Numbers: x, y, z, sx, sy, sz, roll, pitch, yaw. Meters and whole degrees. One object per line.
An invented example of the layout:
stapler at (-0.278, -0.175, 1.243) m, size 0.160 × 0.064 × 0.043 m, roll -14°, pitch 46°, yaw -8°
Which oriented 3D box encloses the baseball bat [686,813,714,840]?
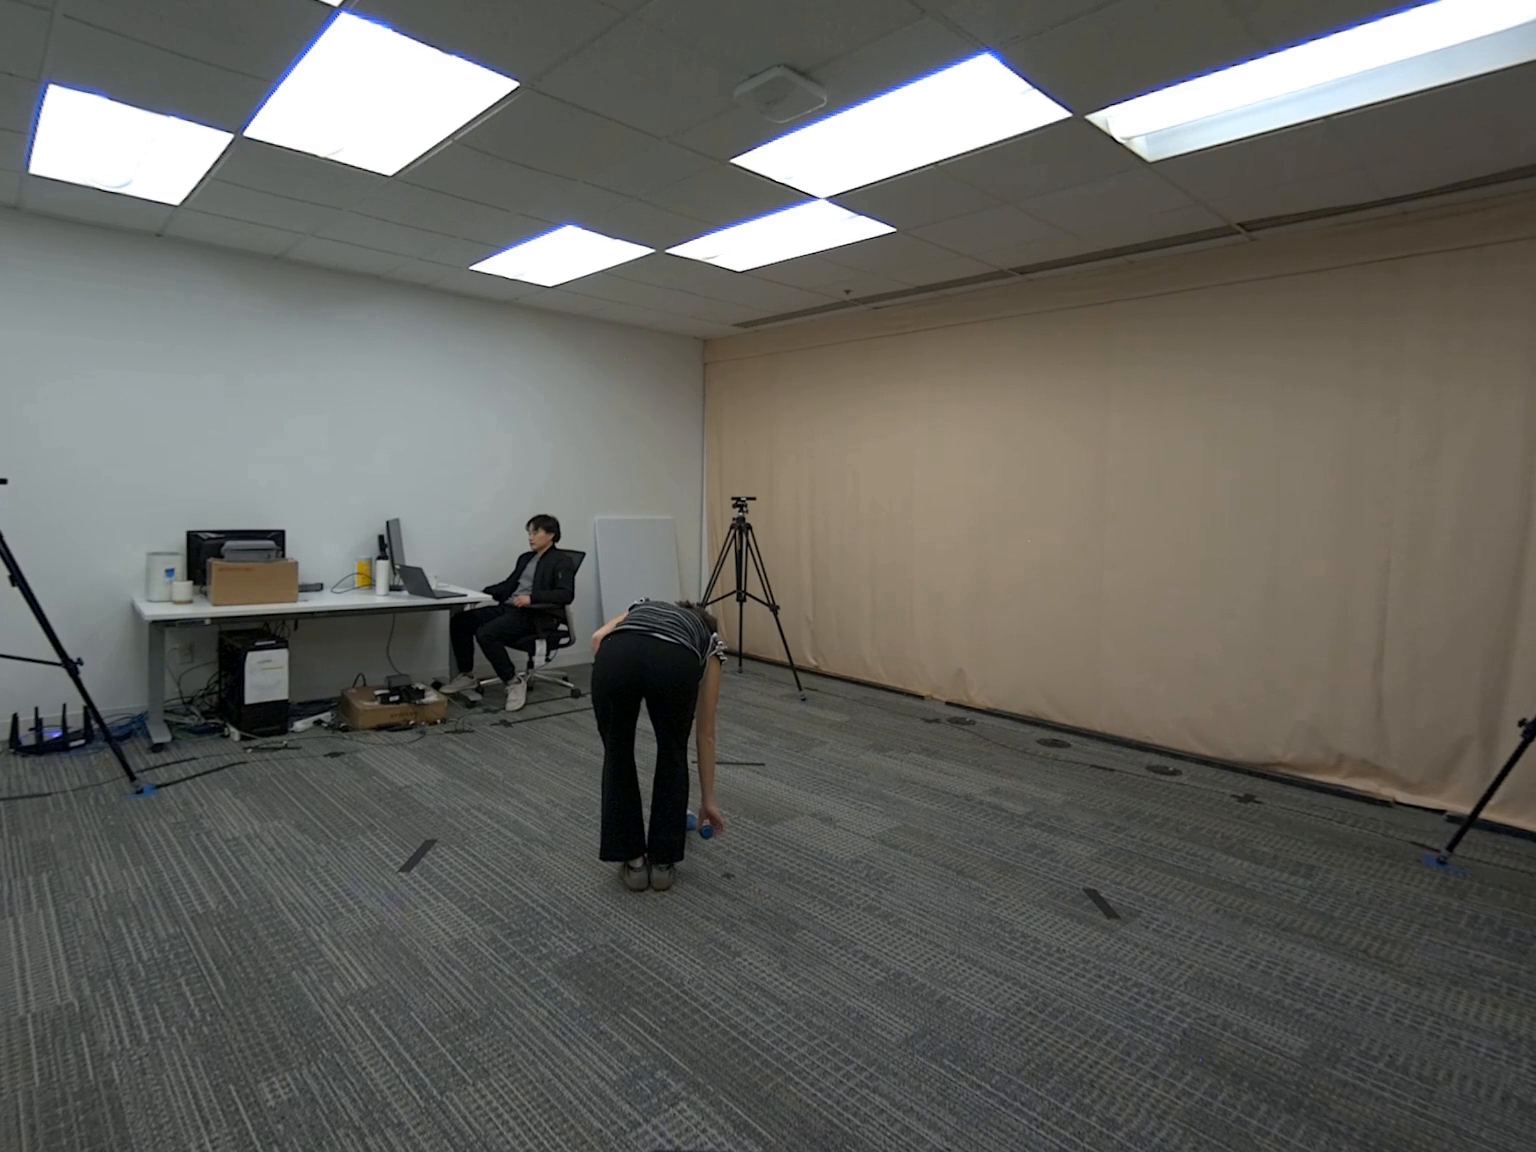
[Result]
baseball bat at (-0.322, 0.986, 3.350) m, size 0.088 × 0.089 × 0.547 m, roll 0°, pitch -7°, yaw -19°
